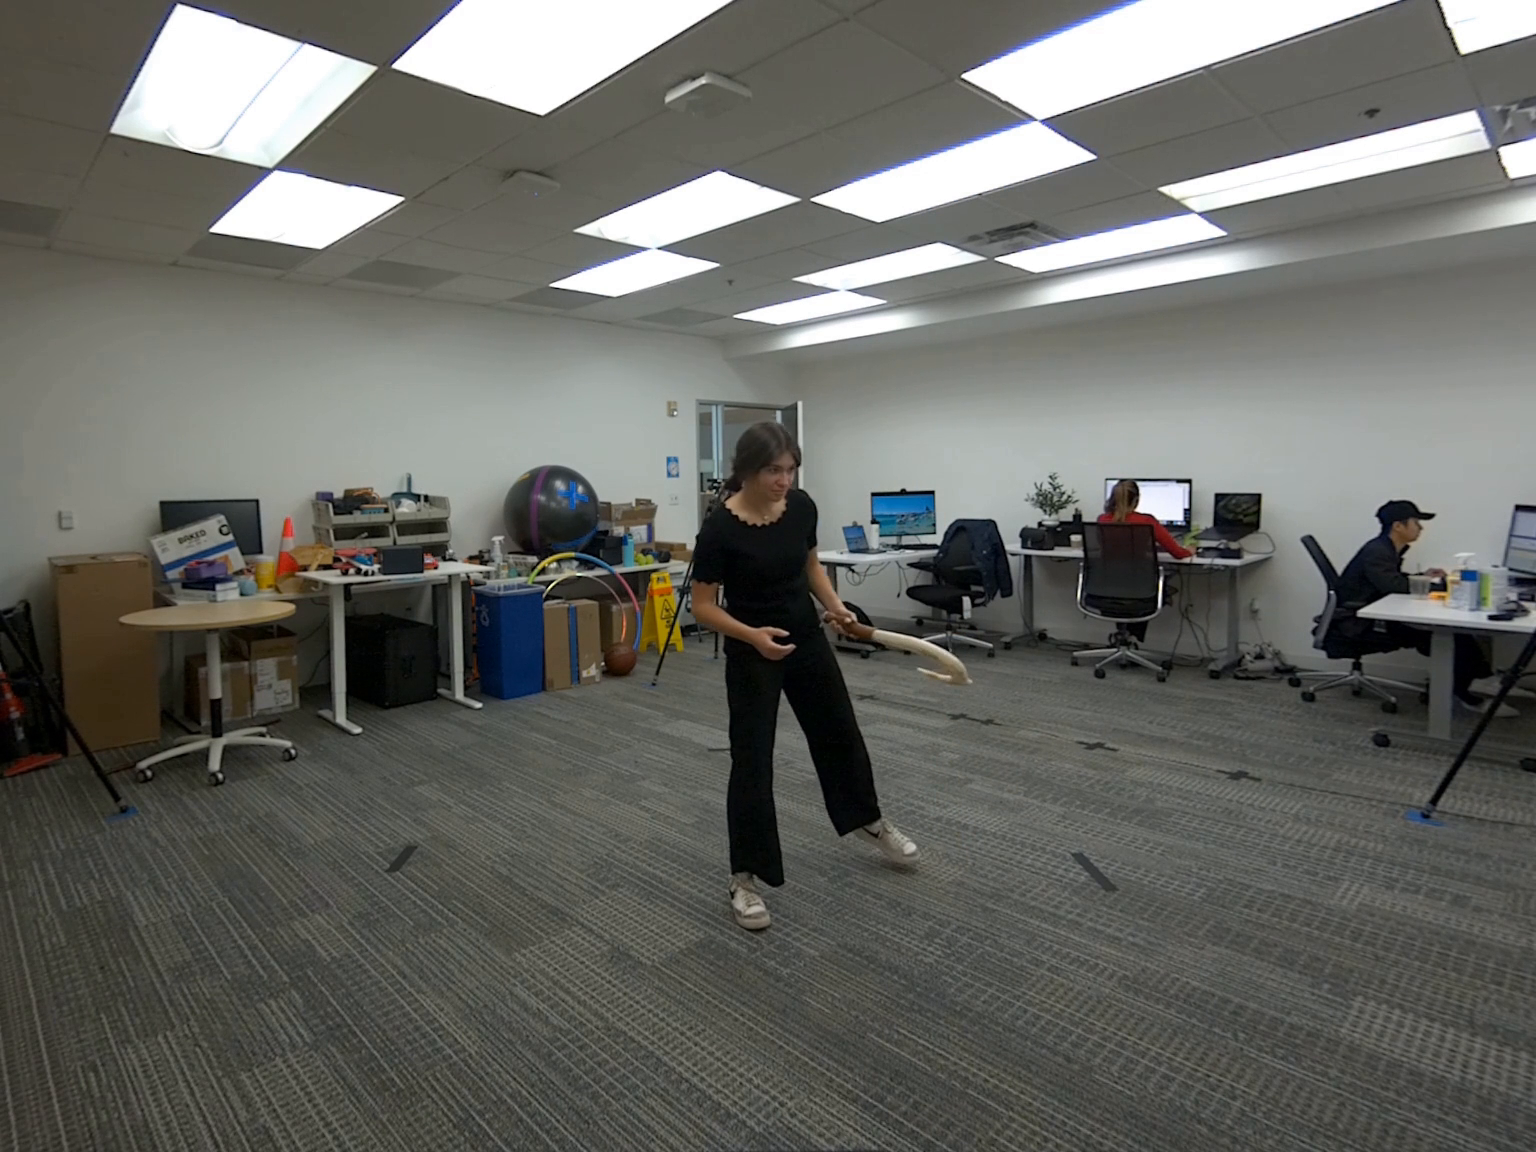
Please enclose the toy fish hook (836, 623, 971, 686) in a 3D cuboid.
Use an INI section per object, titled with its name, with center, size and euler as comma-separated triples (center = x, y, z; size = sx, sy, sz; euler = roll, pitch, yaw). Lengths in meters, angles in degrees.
[toy fish hook]
center = 0.390, 0.228, 2.638
size = 0.525, 0.216, 0.048
euler = 19, 60, 39
